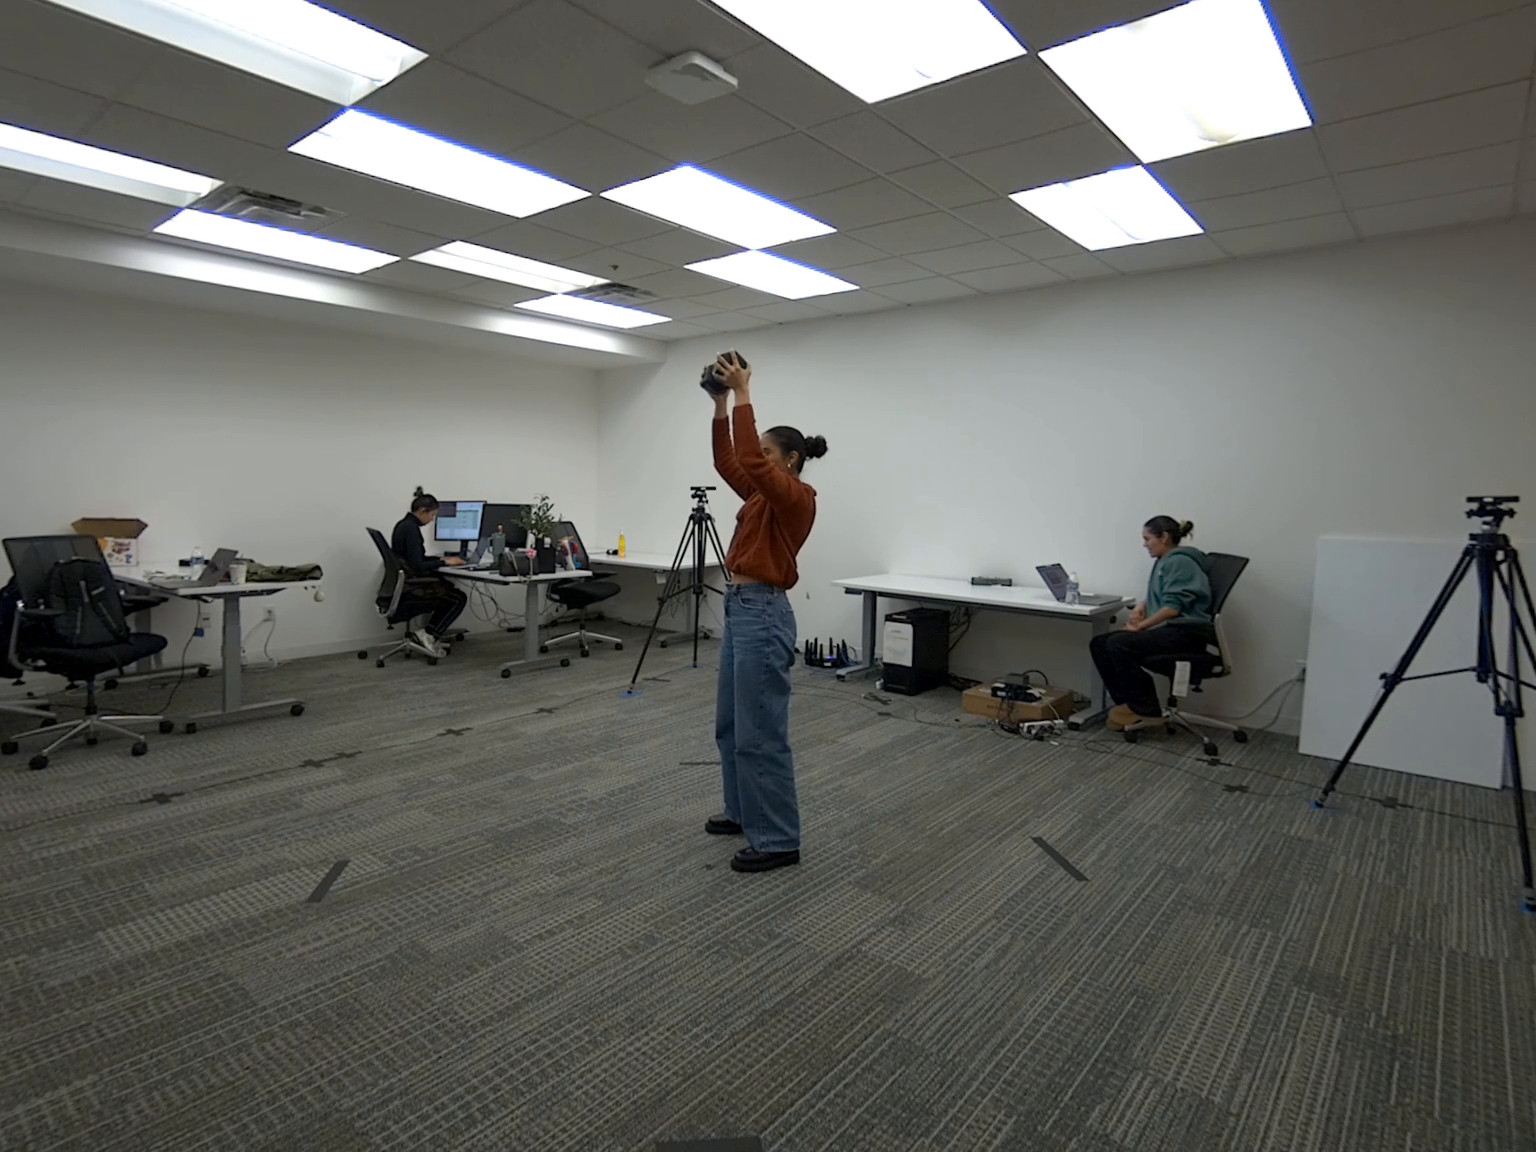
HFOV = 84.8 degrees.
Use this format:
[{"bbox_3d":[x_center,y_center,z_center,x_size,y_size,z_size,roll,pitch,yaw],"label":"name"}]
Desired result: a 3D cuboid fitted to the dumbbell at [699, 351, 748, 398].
[{"bbox_3d":[-0.178,-0.761,3.201,0.107,0.123,0.297,13,1,-12],"label":"dumbbell"}]
